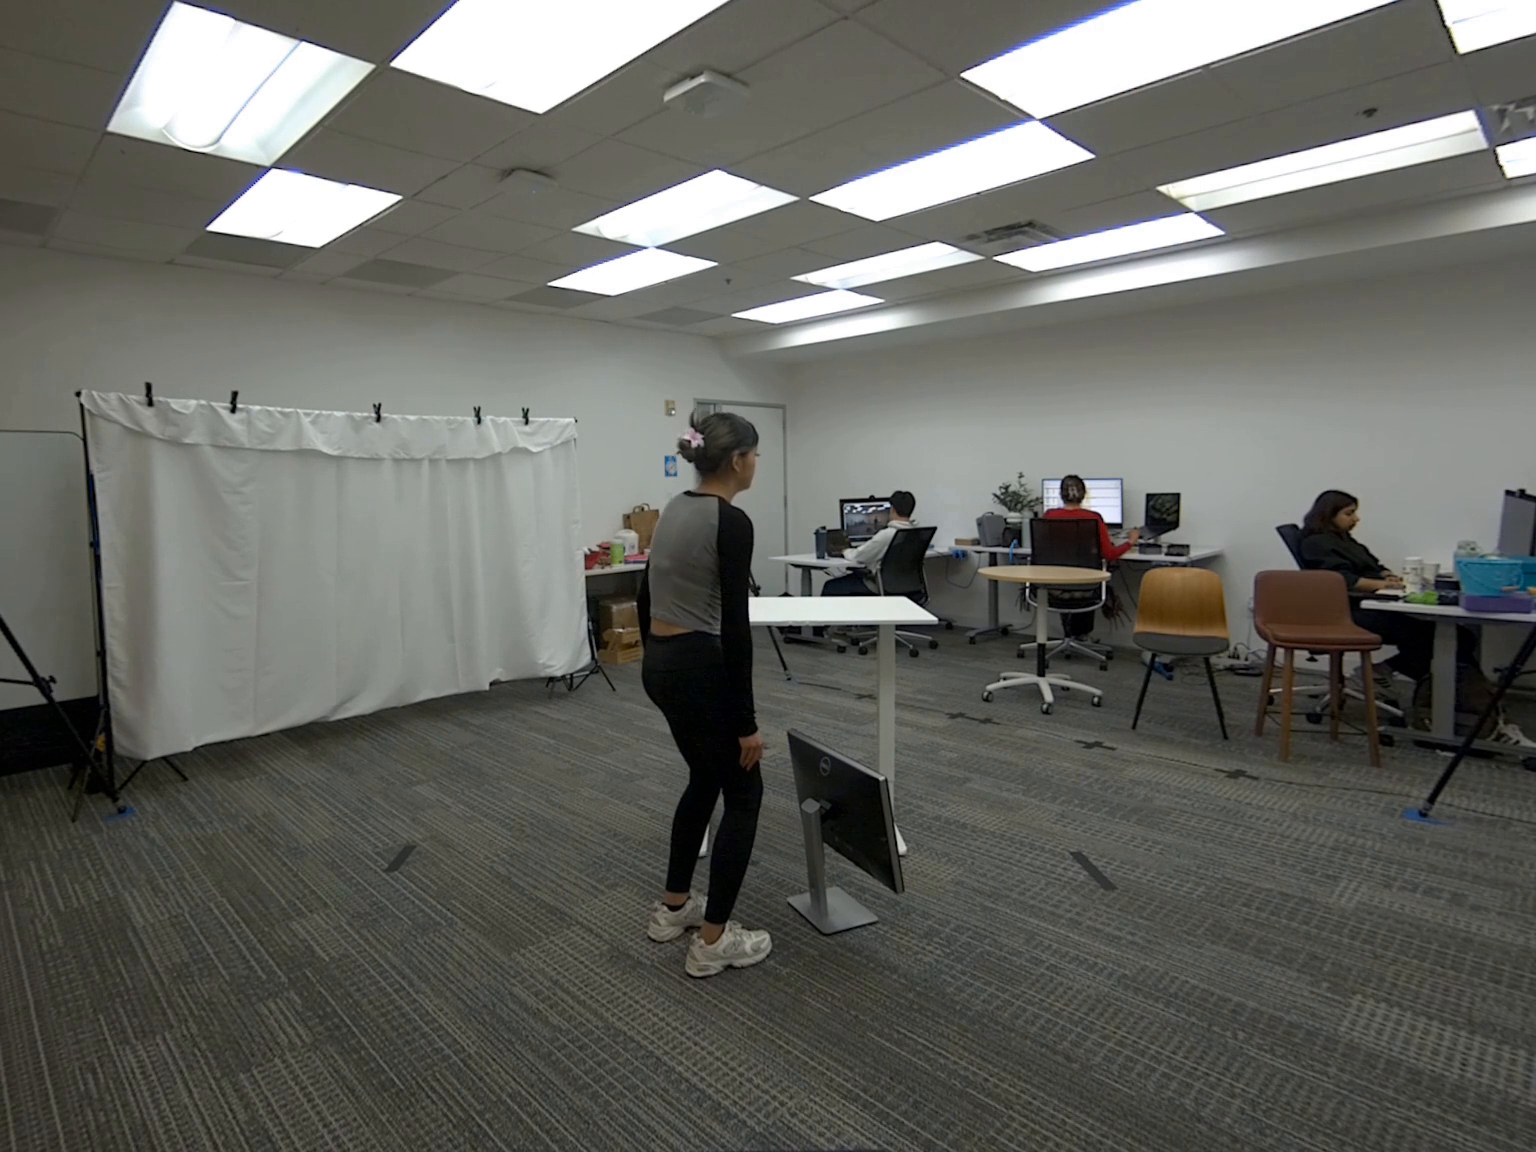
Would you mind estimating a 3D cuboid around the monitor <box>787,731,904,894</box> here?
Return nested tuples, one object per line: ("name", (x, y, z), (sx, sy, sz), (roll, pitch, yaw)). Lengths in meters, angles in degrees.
("monitor", (0.208, 0.825, 2.722), (0.183, 0.521, 0.553), (0, 4, -28))
